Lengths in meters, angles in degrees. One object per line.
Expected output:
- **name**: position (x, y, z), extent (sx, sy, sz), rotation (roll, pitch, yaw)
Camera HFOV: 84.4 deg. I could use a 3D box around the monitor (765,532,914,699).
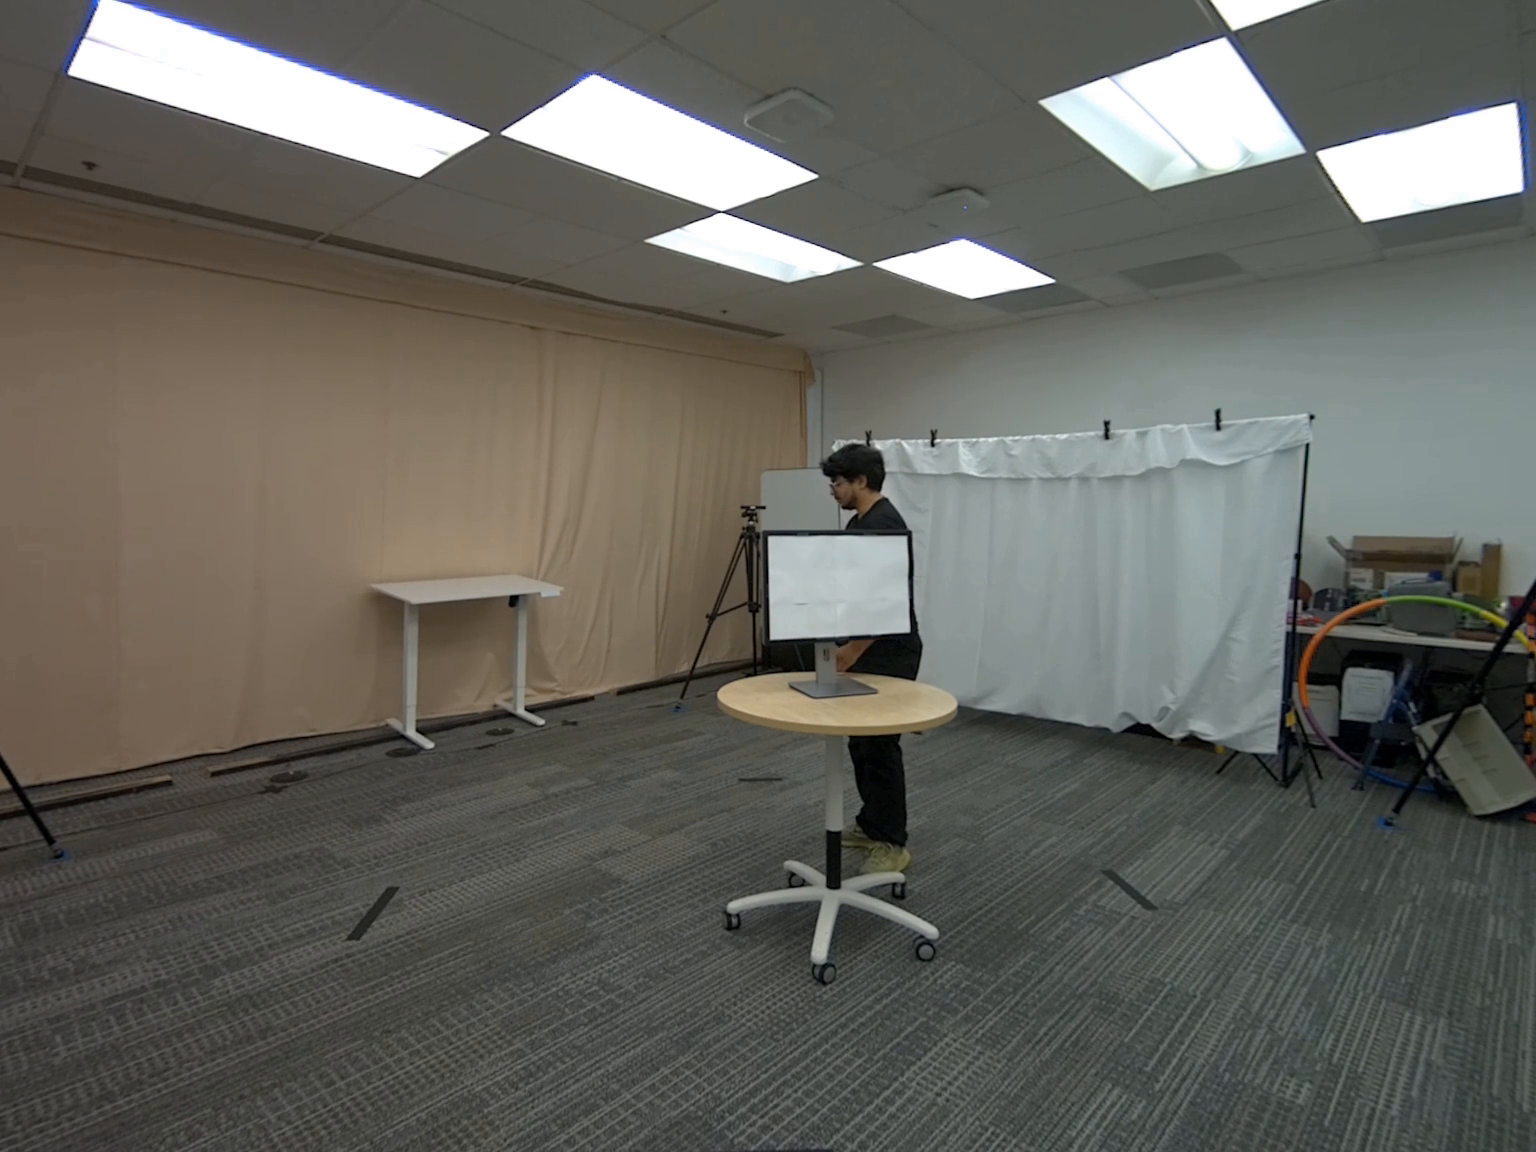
- **monitor**: position (0.213, 0.116, 2.821), extent (0.553, 0.554, 0.215), rotation (-1, 1, -21)
